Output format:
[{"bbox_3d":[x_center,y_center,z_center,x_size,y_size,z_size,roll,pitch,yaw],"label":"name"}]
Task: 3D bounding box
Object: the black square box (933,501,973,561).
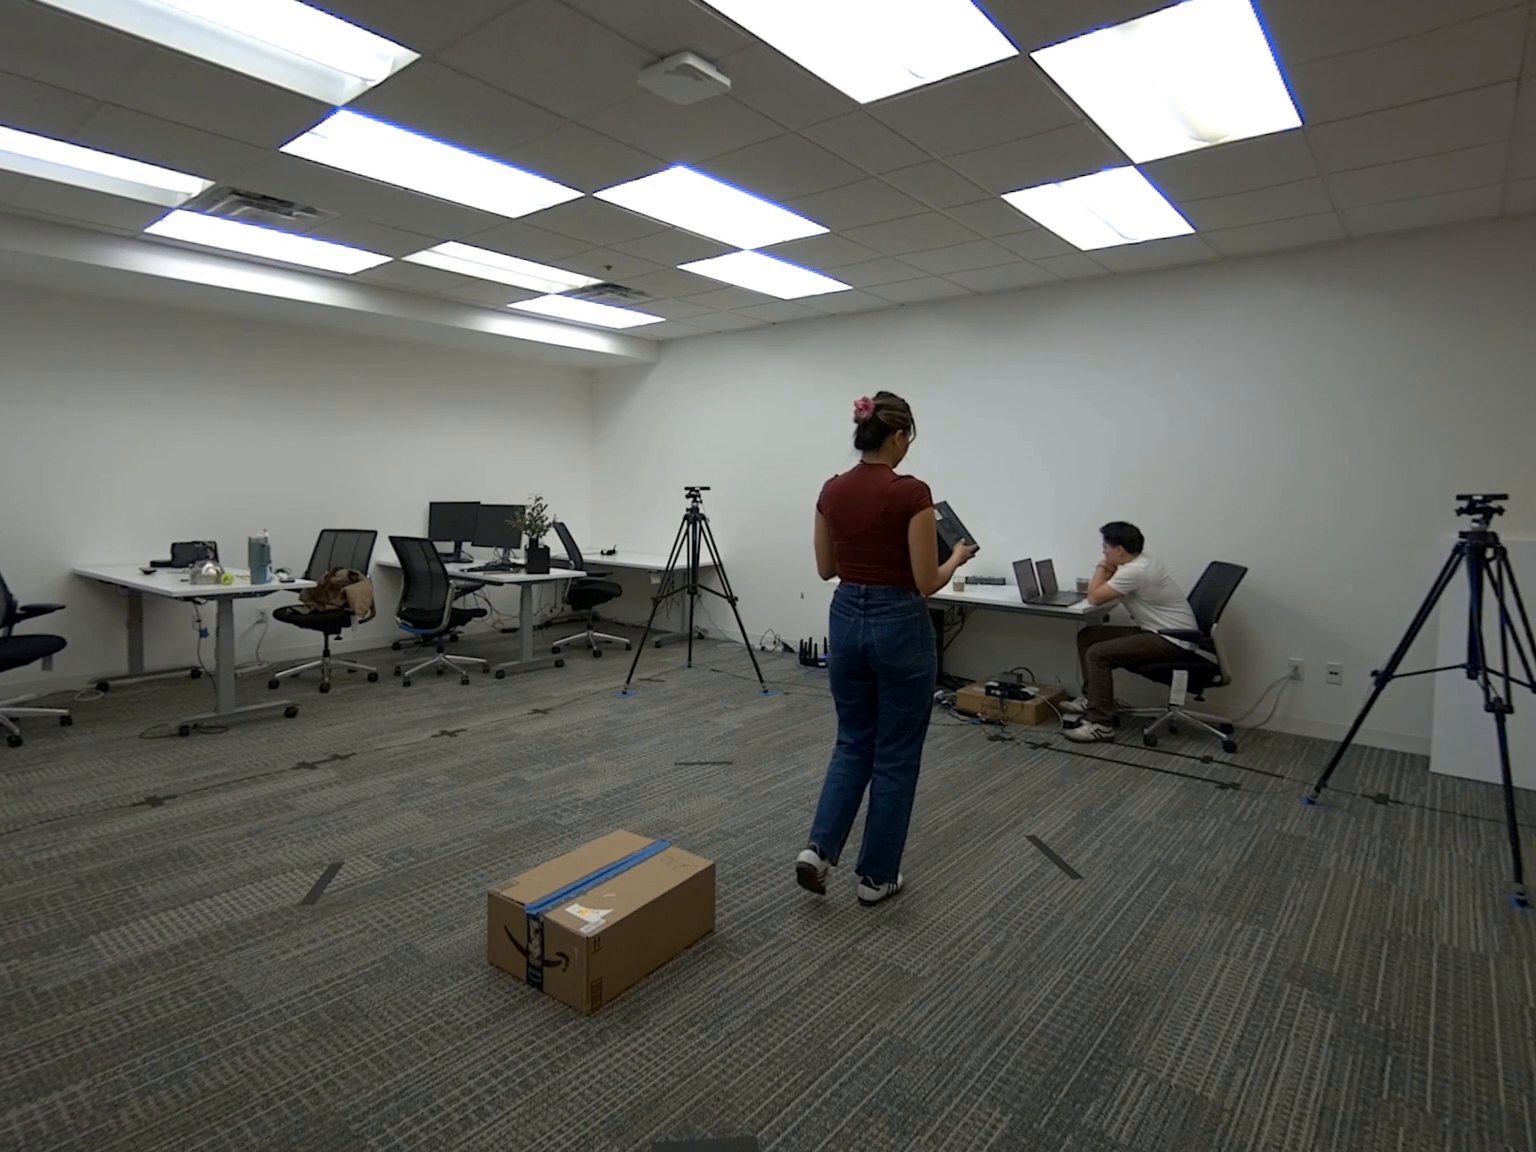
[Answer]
[{"bbox_3d":[0.582,-0.109,3.097,0.152,0.222,0.227,-17,-22,-40],"label":"black square box"}]
